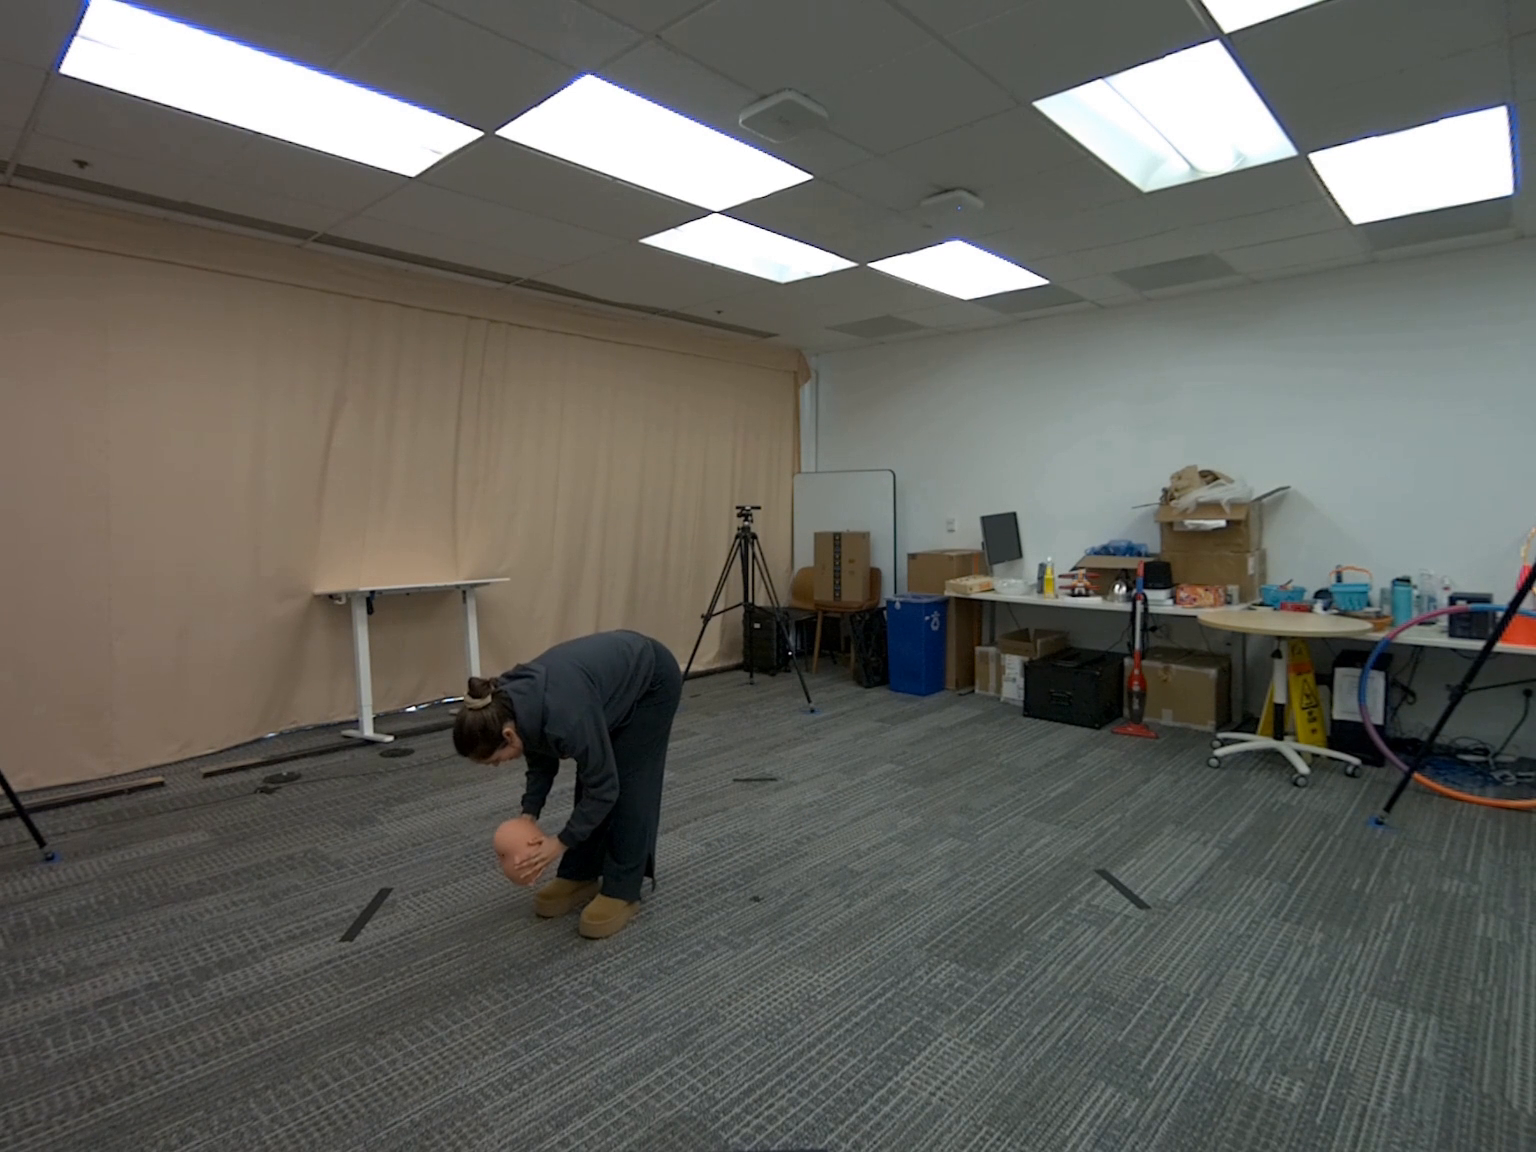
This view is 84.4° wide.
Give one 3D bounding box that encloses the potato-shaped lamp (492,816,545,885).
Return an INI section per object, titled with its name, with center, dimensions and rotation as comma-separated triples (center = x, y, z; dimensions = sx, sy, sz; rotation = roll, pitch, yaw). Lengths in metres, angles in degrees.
[potato-shaped lamp]
center = -0.786, 0.883, 2.724
dimensions = 0.169, 0.194, 0.170
rotation = -15, 27, 50
